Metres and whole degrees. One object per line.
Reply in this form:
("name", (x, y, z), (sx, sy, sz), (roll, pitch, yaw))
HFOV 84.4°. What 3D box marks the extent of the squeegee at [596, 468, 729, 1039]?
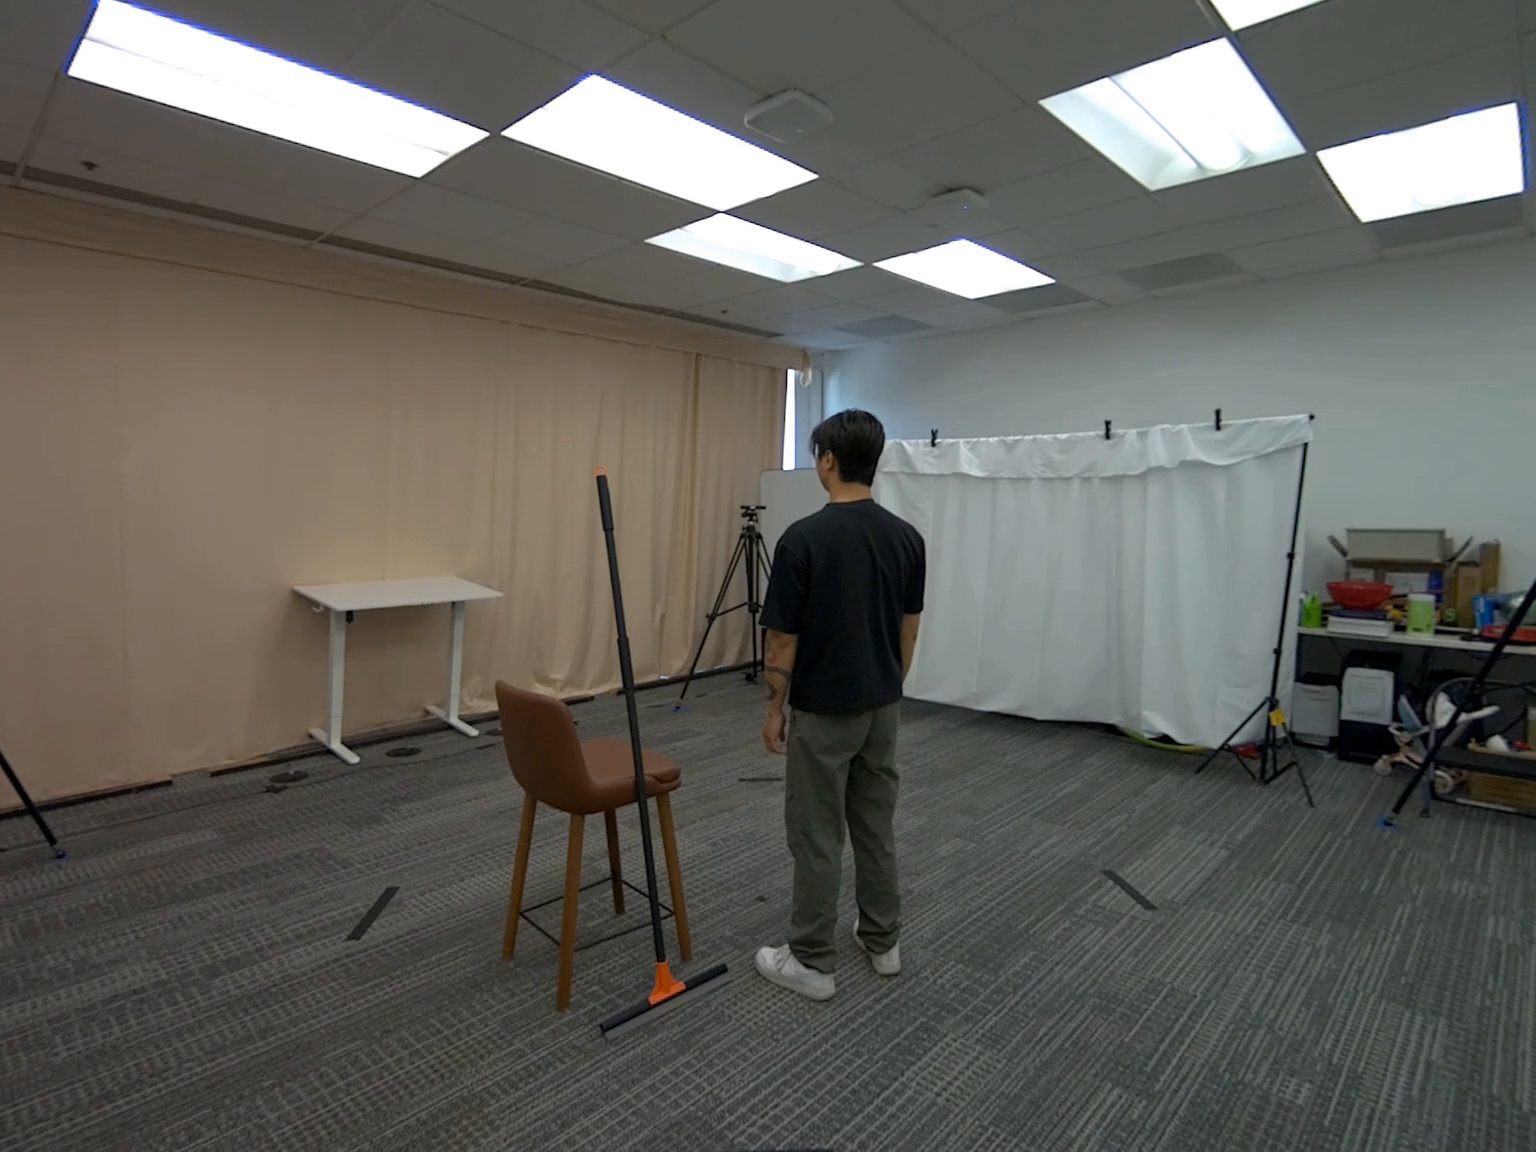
("squeegee", (-0.381, 0.435, 2.419), (0.427, 1.540, 0.054), (-7, -2, -28))
